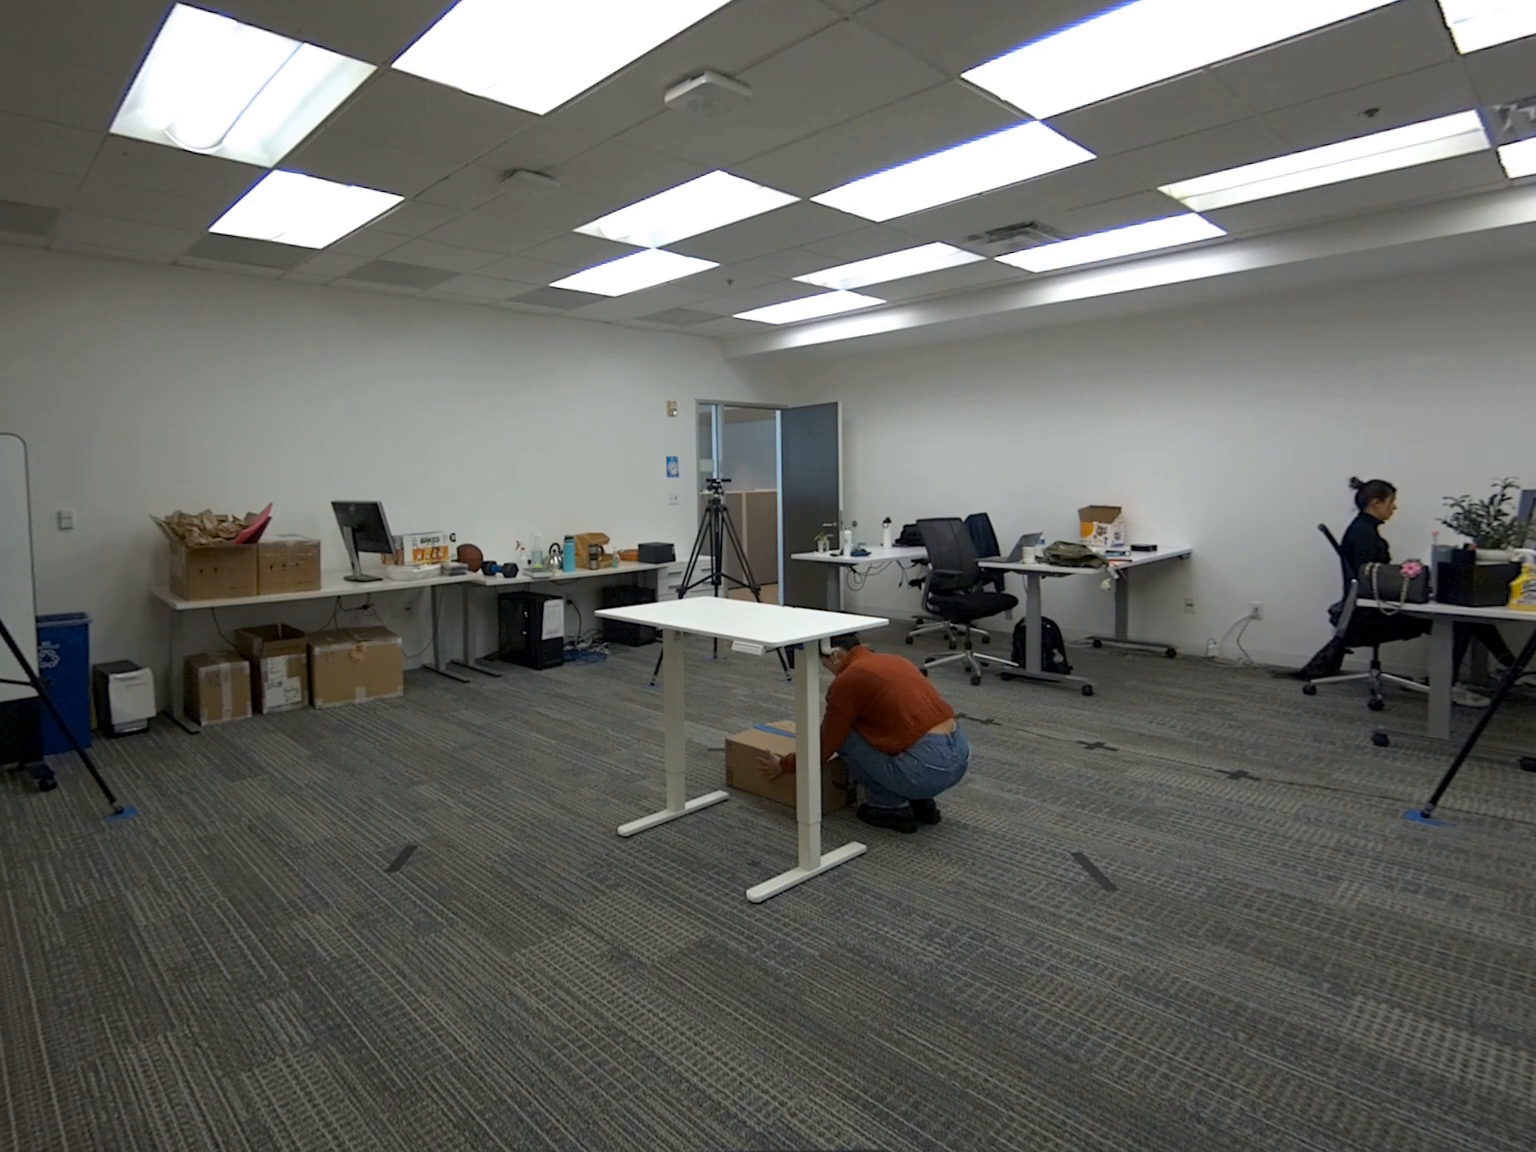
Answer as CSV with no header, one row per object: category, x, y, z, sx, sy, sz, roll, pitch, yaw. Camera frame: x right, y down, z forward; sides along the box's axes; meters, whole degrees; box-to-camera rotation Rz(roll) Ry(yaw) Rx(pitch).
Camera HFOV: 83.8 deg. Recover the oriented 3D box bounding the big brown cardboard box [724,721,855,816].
big brown cardboard box,0.154,0.847,3.850,0.607,0.232,0.406,4,7,45
